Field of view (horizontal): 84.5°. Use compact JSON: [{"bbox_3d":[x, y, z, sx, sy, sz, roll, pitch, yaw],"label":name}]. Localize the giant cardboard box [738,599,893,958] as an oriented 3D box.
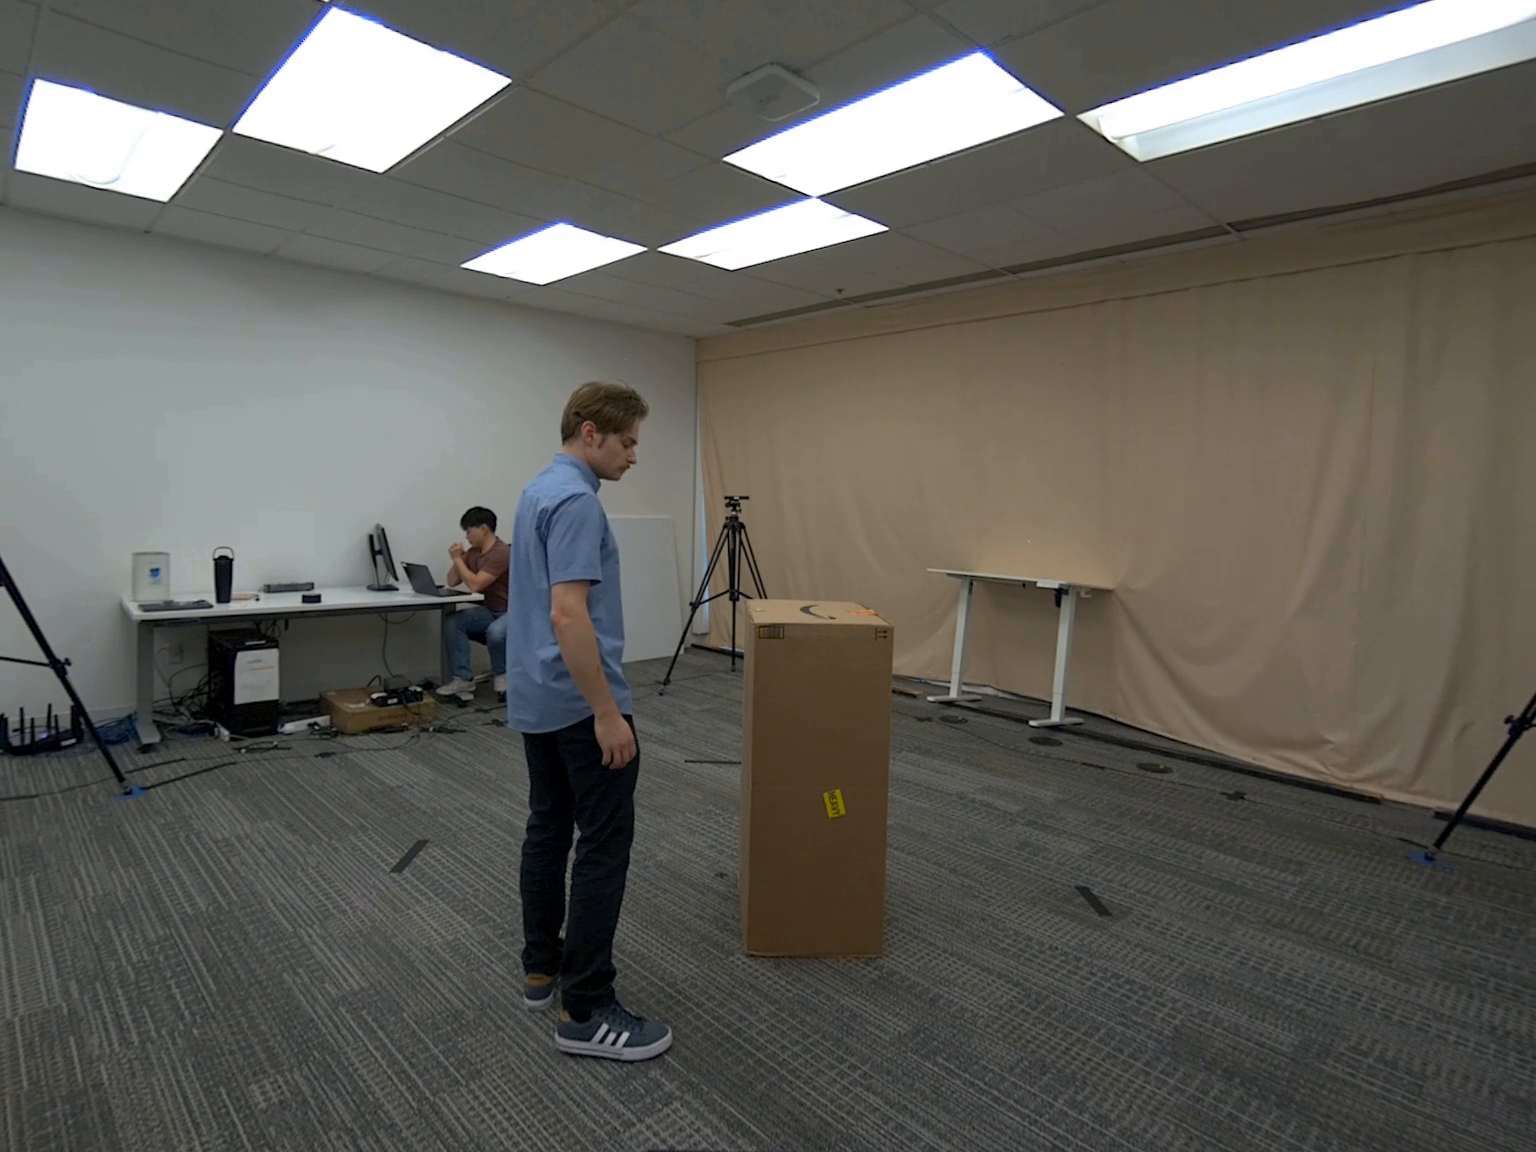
[{"bbox_3d":[0.134,0.628,2.815,0.425,1.023,0.580,1,3,-3],"label":"giant cardboard box"}]
